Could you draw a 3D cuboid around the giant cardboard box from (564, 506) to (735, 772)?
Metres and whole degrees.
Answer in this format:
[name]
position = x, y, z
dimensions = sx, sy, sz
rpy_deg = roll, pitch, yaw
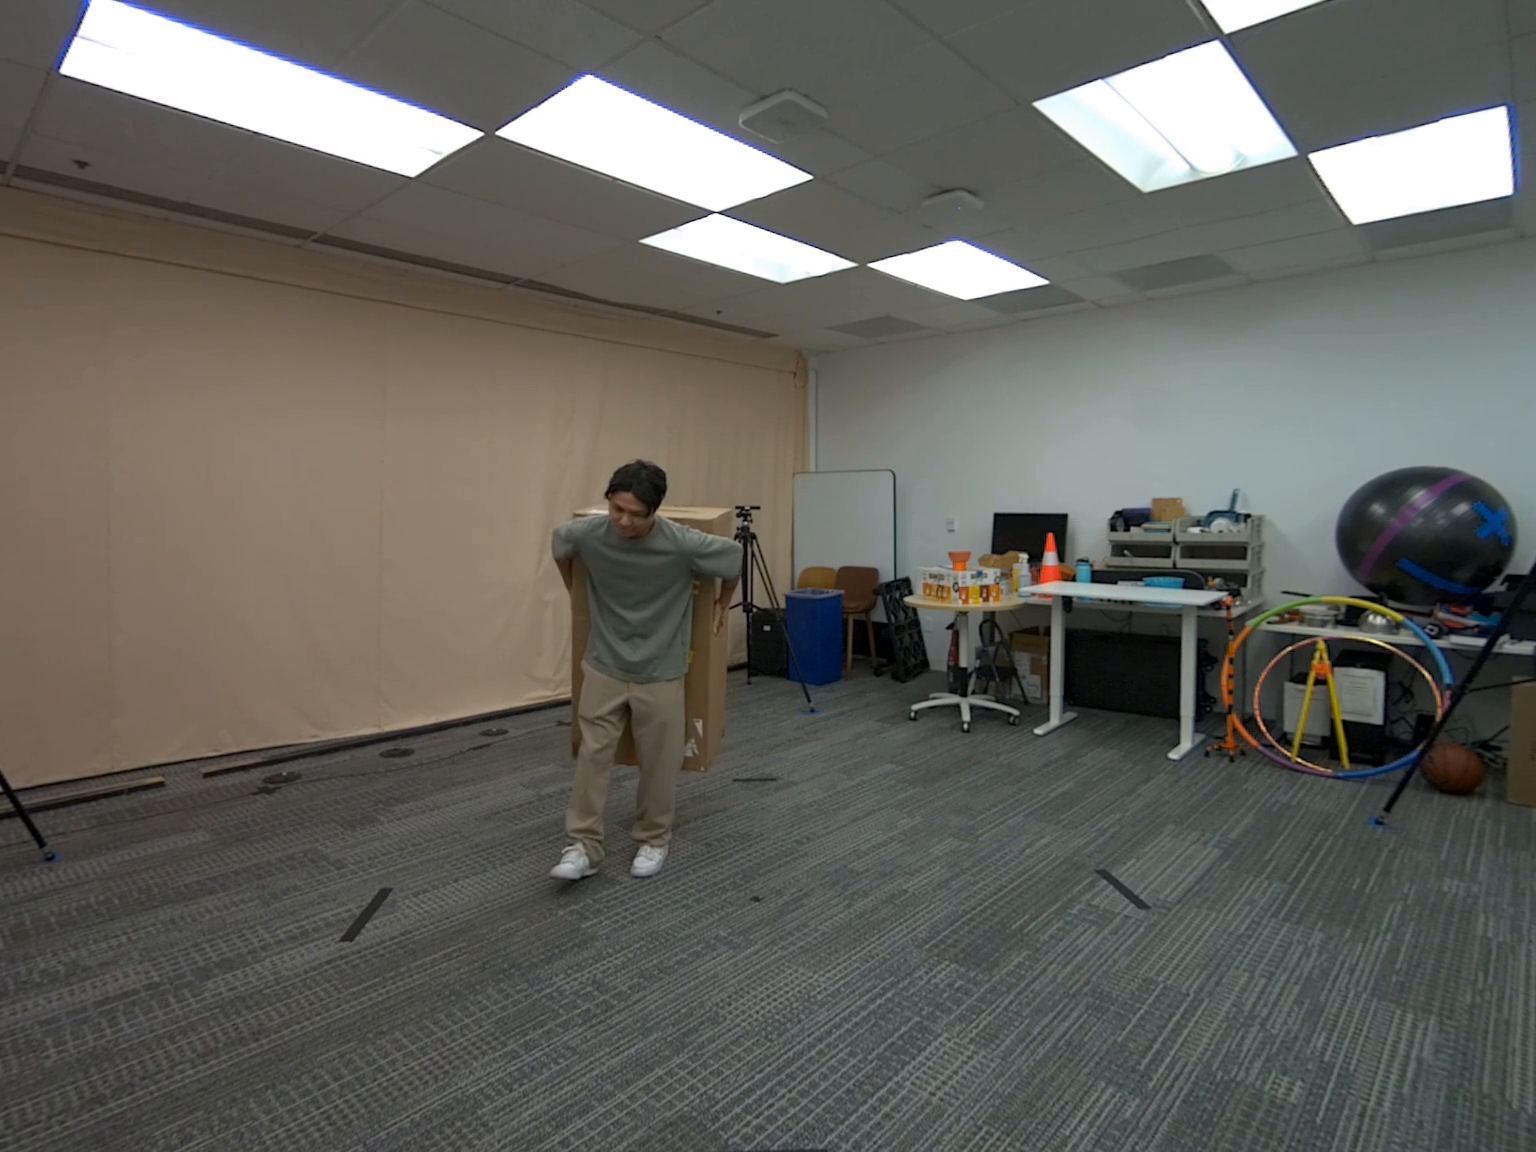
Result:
[giant cardboard box]
position = -0.487, 0.235, 3.537
dimensions = 0.583, 1.021, 0.424
rpy_deg = 3, 8, 7
